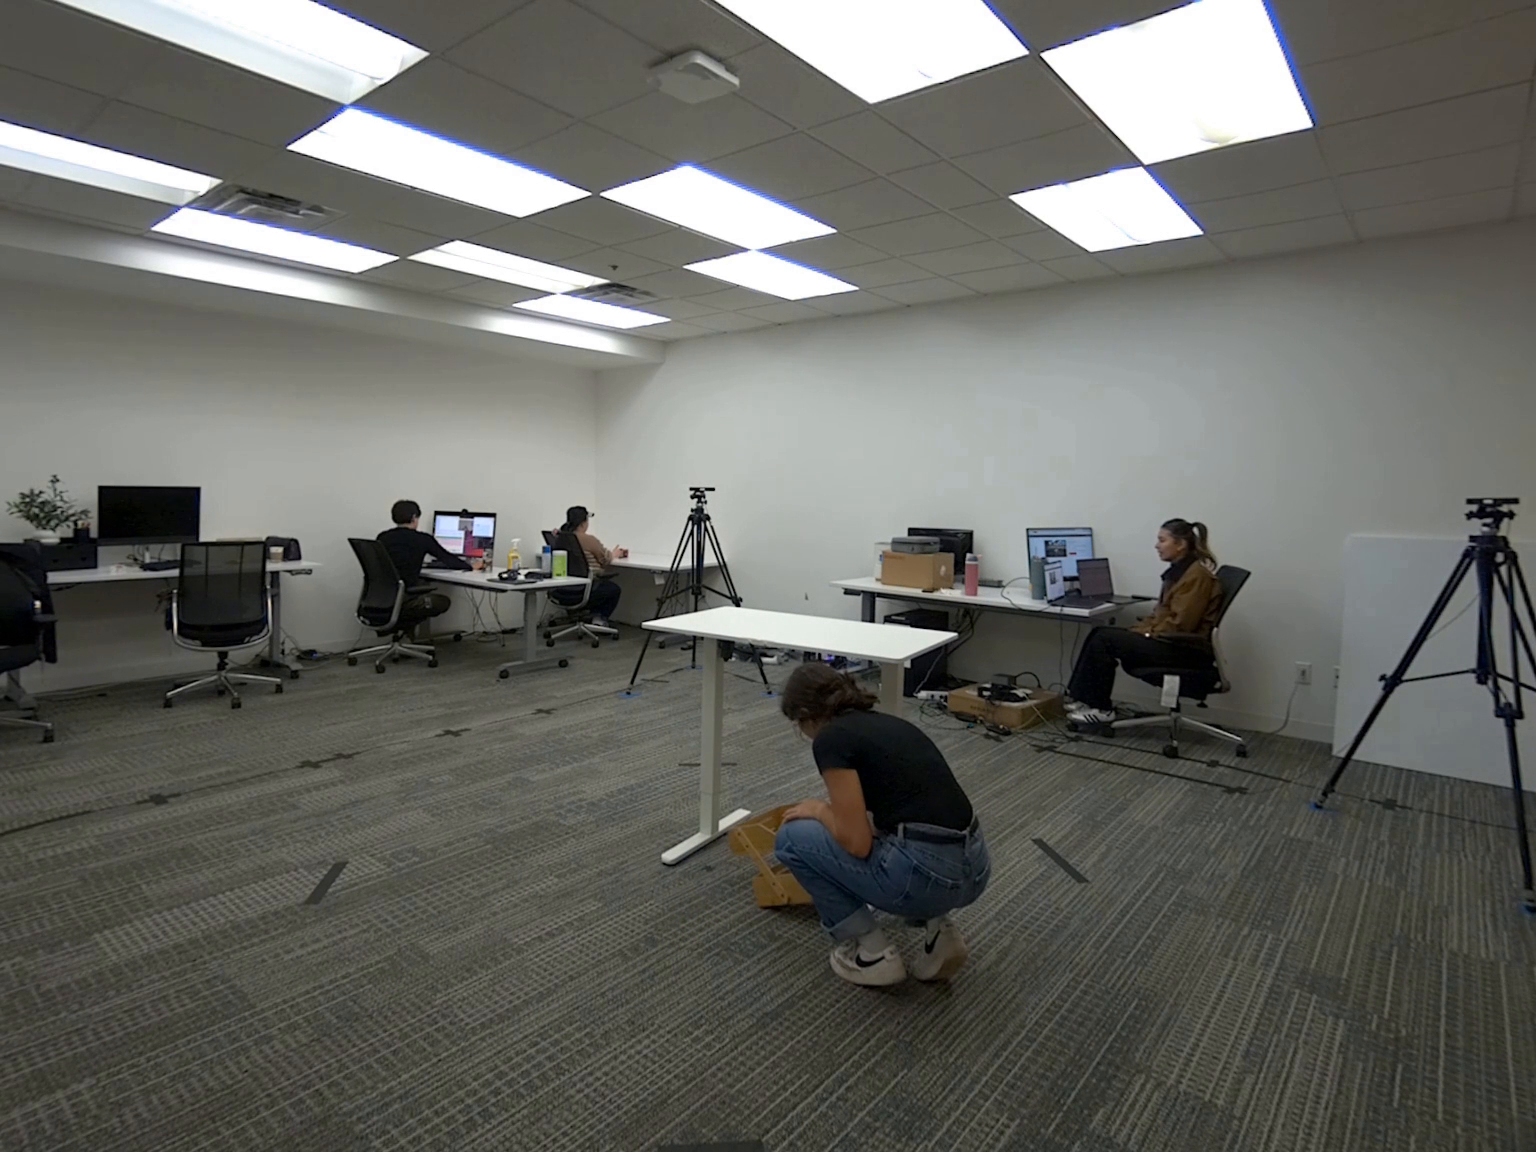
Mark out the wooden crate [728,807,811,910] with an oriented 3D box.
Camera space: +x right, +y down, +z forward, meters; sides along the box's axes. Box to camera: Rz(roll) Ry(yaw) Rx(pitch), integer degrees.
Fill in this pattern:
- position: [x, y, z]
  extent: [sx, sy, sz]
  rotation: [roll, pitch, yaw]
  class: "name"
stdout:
- position: [0.081, 0.935, 2.911]
  extent: [0.307, 0.277, 0.315]
  rotation: [-22, -11, 34]
  class: "wooden crate"
